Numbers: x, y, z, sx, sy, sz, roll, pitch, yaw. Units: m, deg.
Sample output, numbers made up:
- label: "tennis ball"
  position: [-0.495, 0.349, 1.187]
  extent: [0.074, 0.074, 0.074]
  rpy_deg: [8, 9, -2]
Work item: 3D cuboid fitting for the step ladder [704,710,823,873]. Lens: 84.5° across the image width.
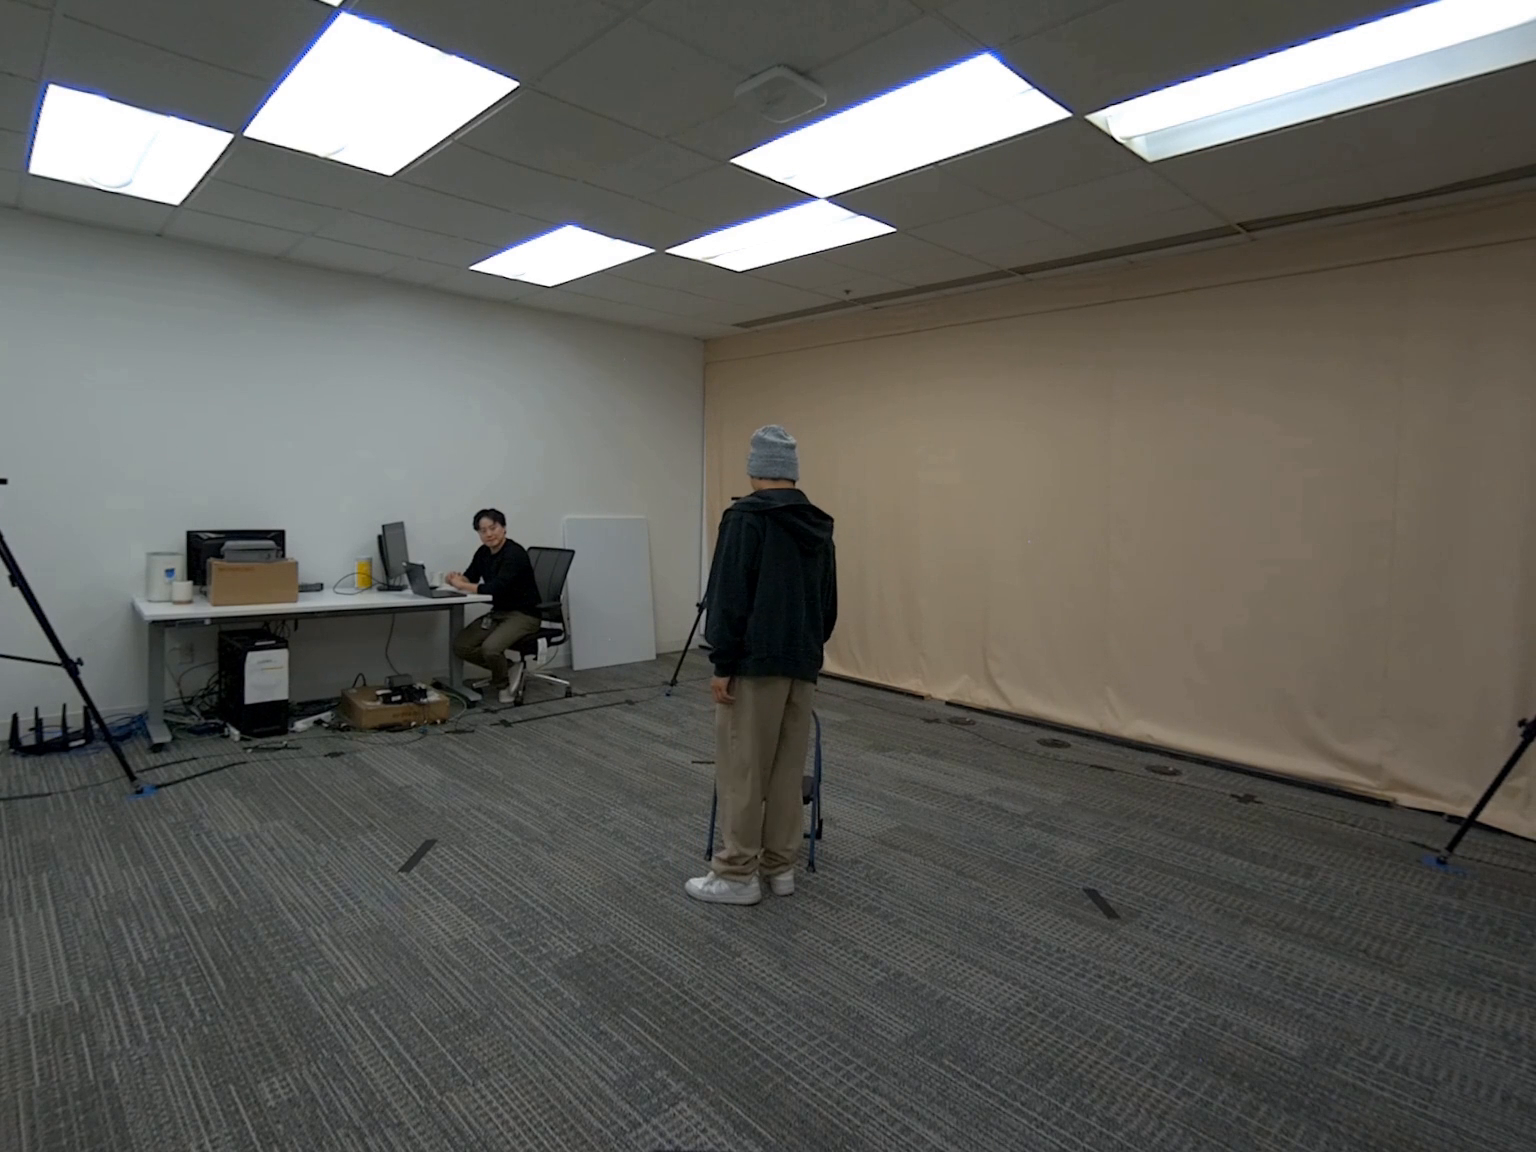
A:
- label: "step ladder"
  position: [-0.001, 0.790, 3.349]
  extent: [0.435, 0.604, 0.347]
  rpy_deg: [2, 3, 11]
